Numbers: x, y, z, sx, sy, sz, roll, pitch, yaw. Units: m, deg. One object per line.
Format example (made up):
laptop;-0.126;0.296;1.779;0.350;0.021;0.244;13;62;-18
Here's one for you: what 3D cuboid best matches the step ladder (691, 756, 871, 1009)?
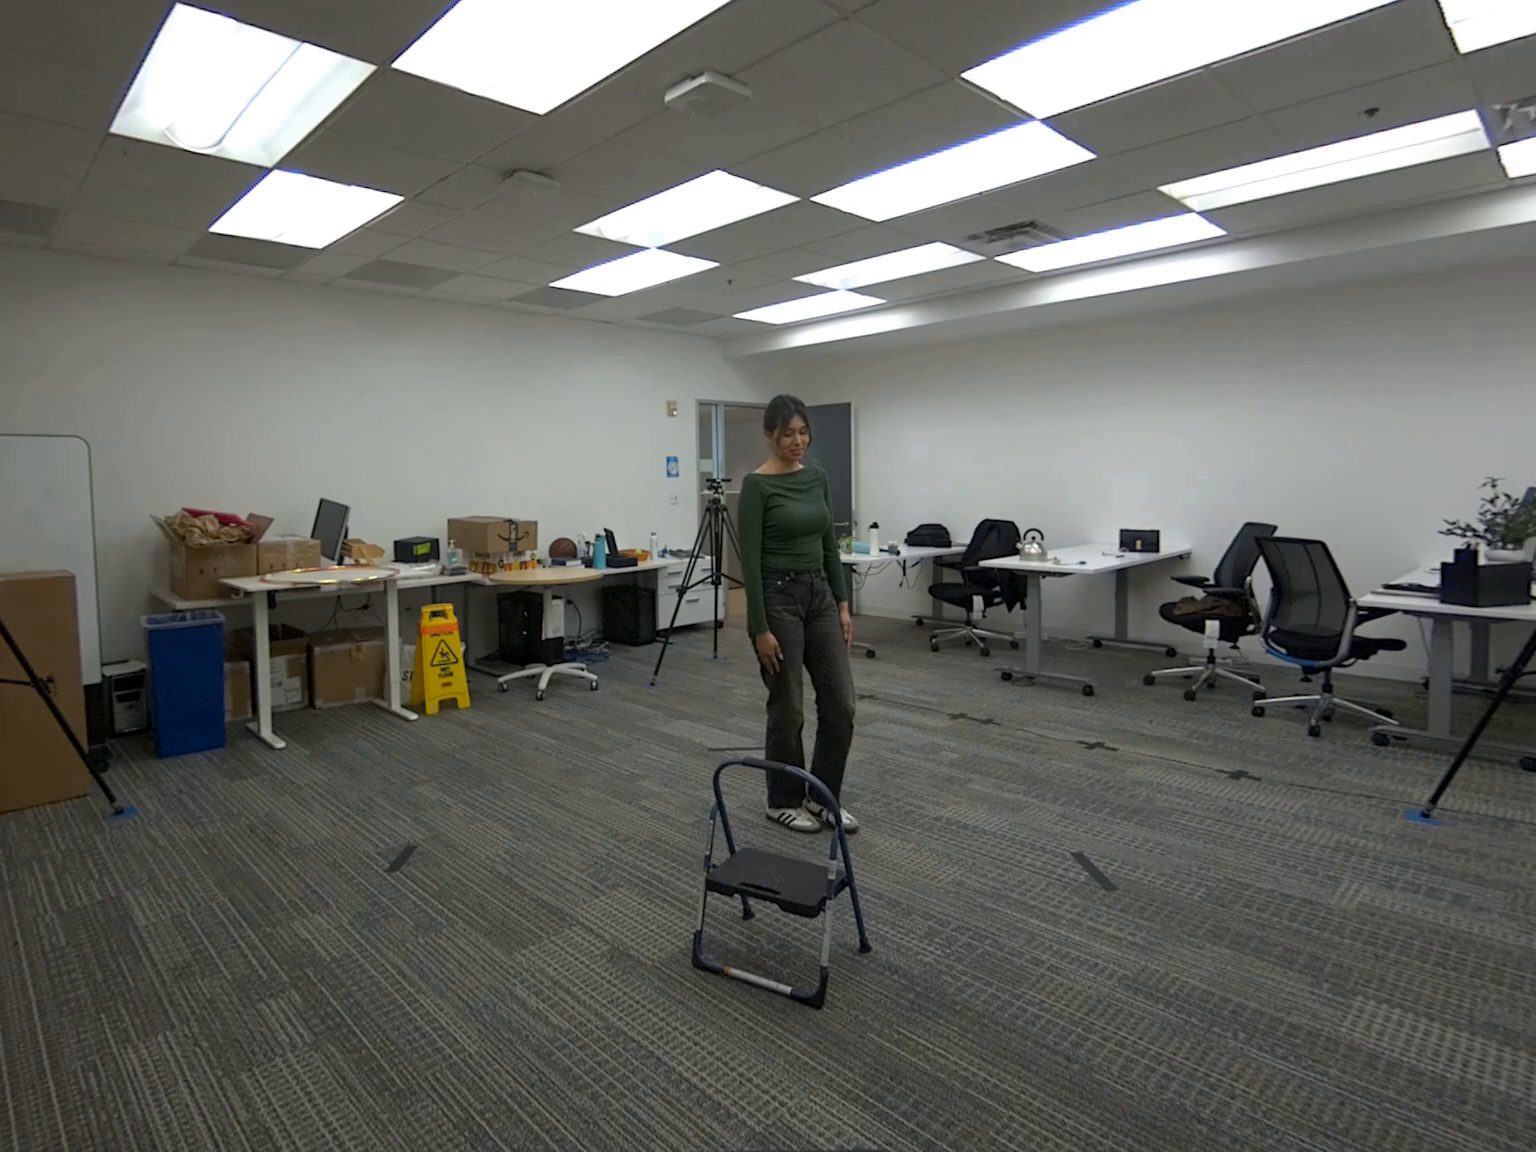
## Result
step ladder;0.036;0.814;2.475;0.442;0.604;0.342;1;4;29
